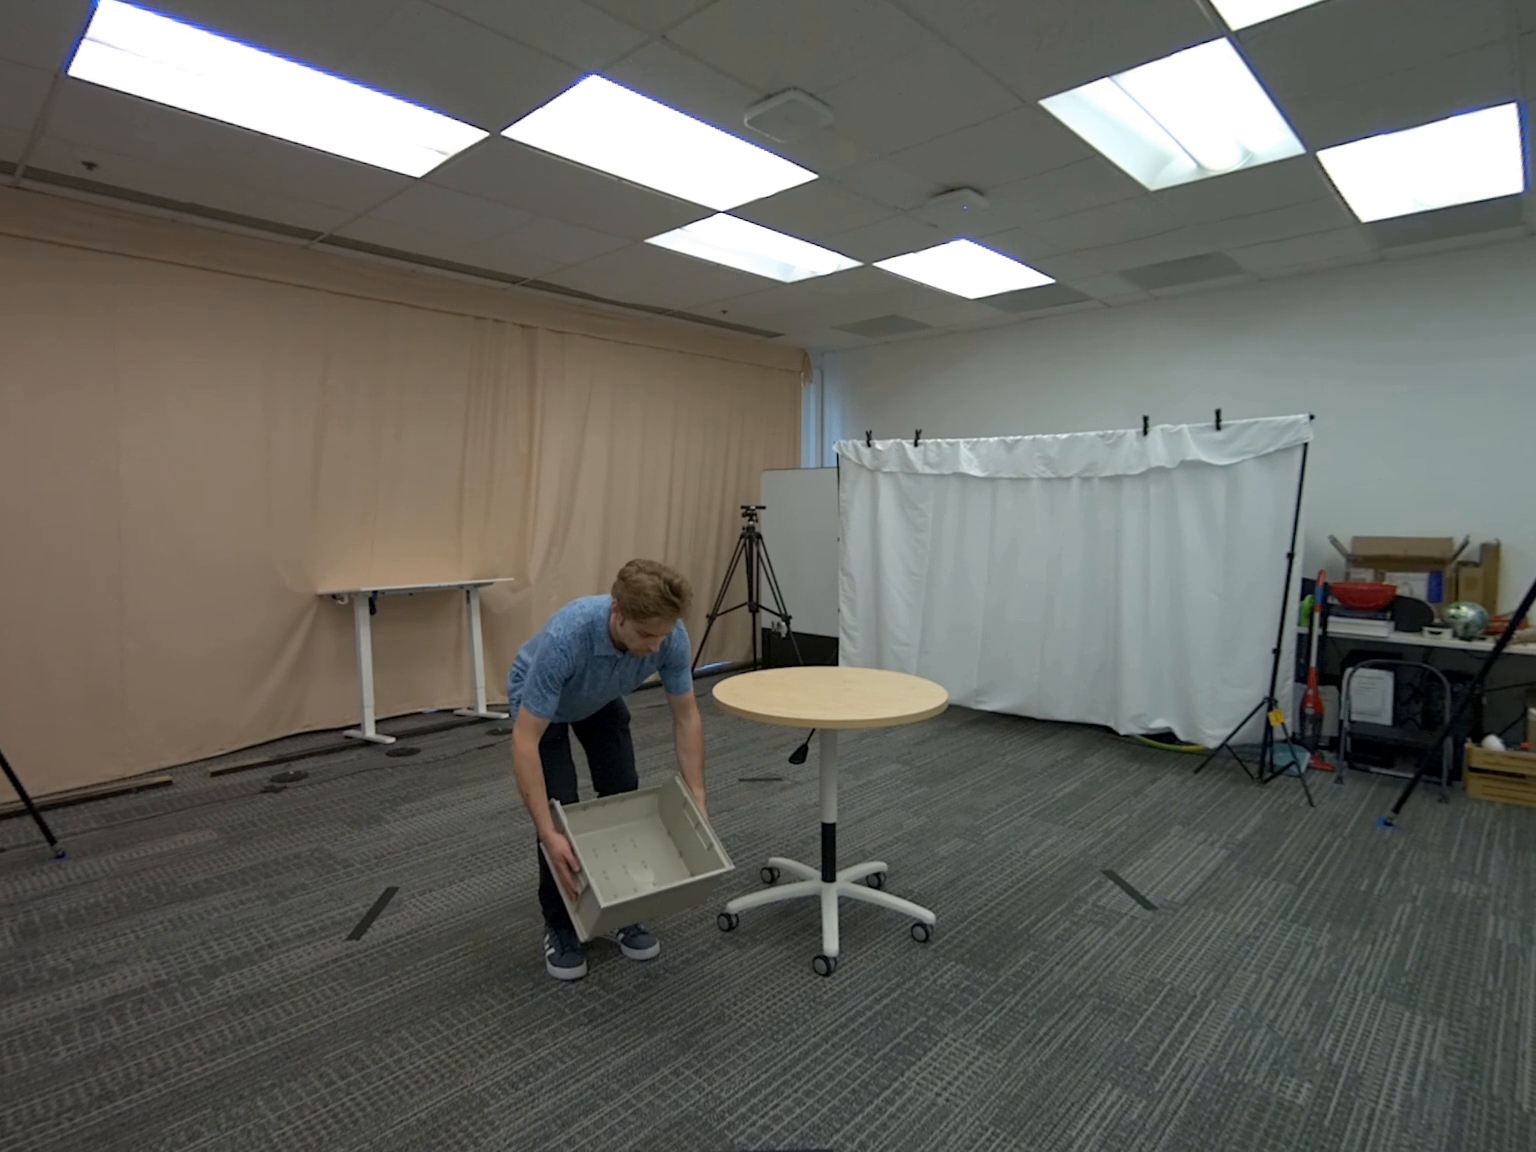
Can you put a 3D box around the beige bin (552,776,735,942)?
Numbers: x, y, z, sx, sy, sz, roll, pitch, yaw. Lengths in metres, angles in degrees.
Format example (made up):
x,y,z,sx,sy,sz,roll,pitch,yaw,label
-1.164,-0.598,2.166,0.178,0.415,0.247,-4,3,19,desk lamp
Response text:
x,y,z,sx,sy,sz,roll,pitch,yaw,label
-0.373,0.776,2.367,0.409,0.188,0.390,-2,39,-39,beige bin
